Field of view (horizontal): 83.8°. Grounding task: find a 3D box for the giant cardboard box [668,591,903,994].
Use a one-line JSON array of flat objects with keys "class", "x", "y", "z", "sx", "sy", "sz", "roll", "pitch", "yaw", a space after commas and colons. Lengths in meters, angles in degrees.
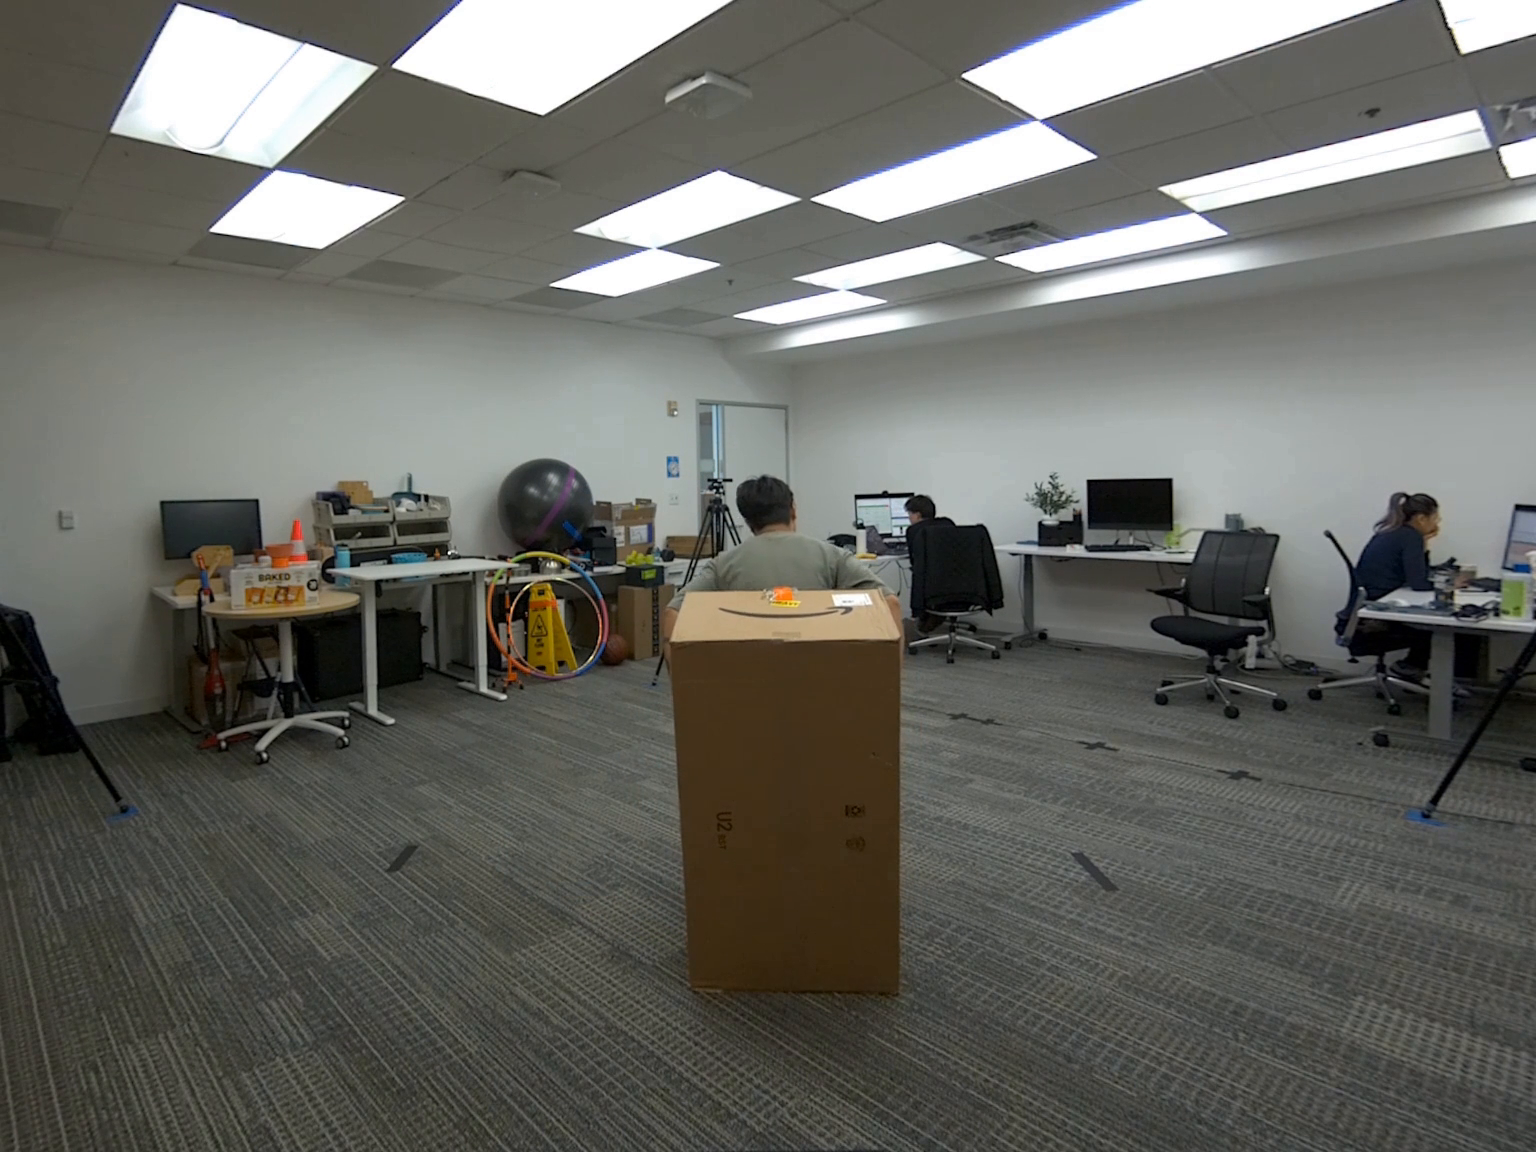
[{"class": "giant cardboard box", "x": 0.062, "y": 0.593, "z": 2.412, "sx": 0.579, "sy": 1.013, "sz": 0.430, "roll": -2, "pitch": 13, "yaw": 2}]
